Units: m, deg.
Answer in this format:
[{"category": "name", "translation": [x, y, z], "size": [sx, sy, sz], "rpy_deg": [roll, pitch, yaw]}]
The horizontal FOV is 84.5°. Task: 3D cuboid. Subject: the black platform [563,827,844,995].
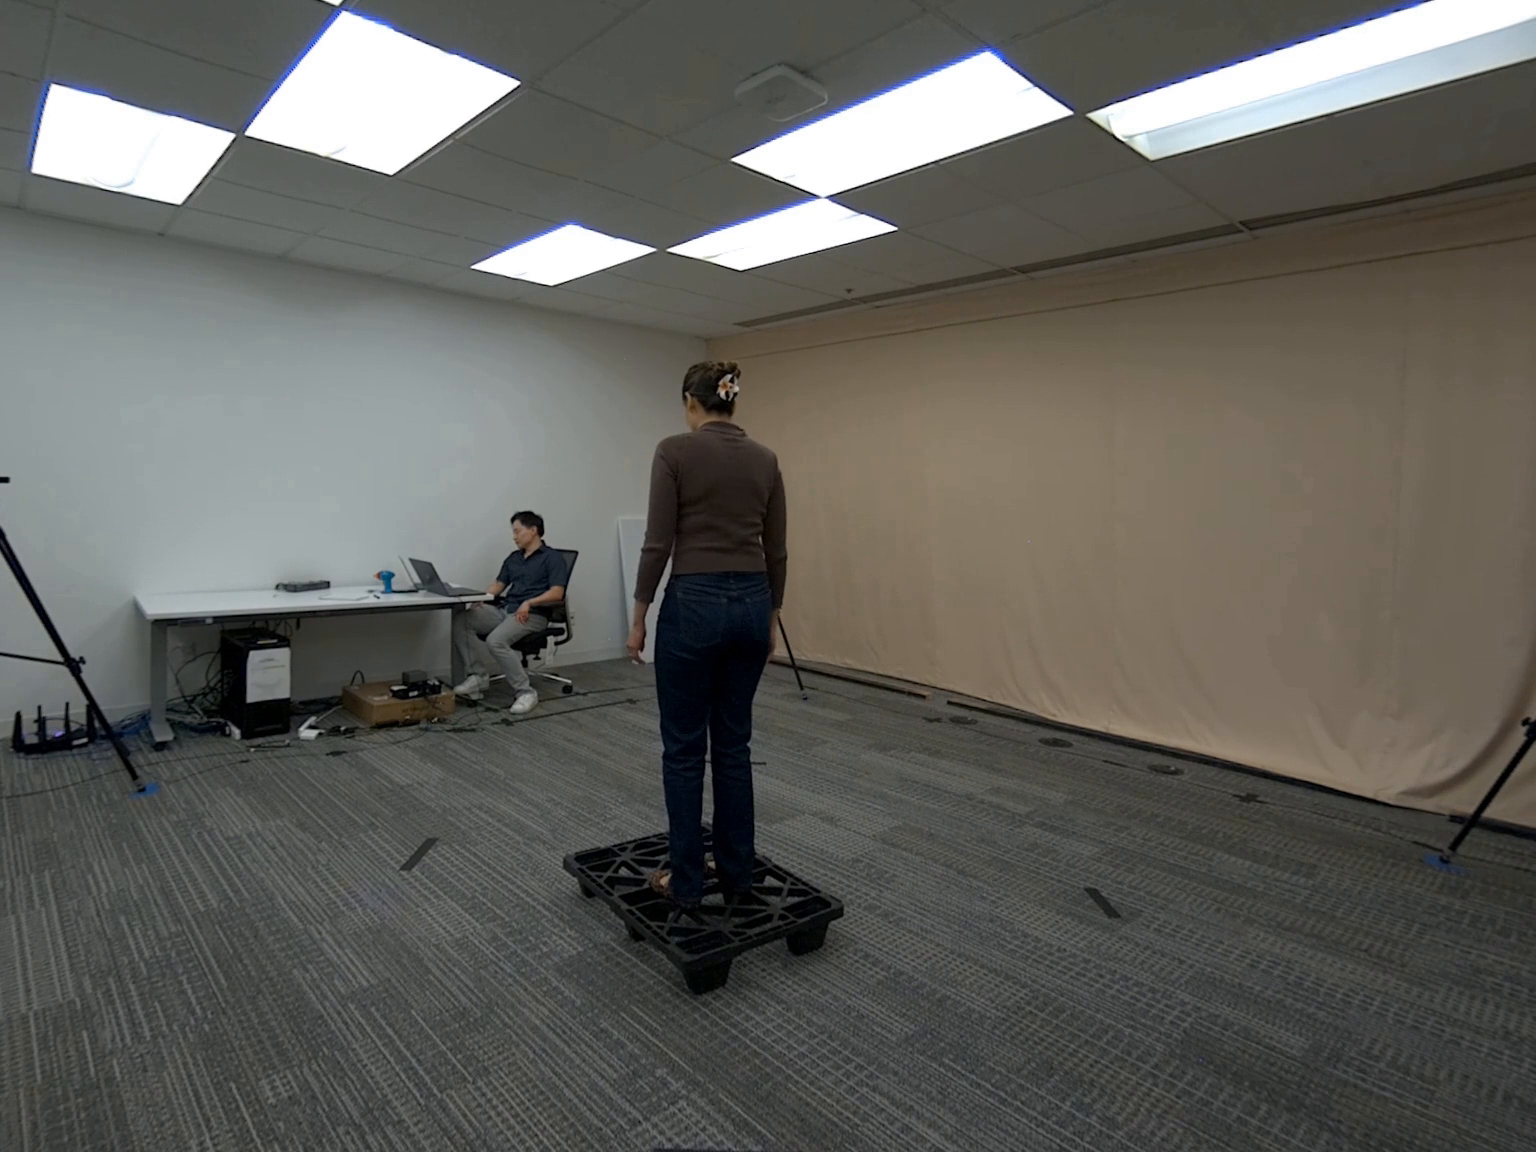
[{"category": "black platform", "translation": [-0.242, 1.064, 2.774], "size": [0.592, 0.143, 0.826], "rpy_deg": [-2, 7, -37]}]
